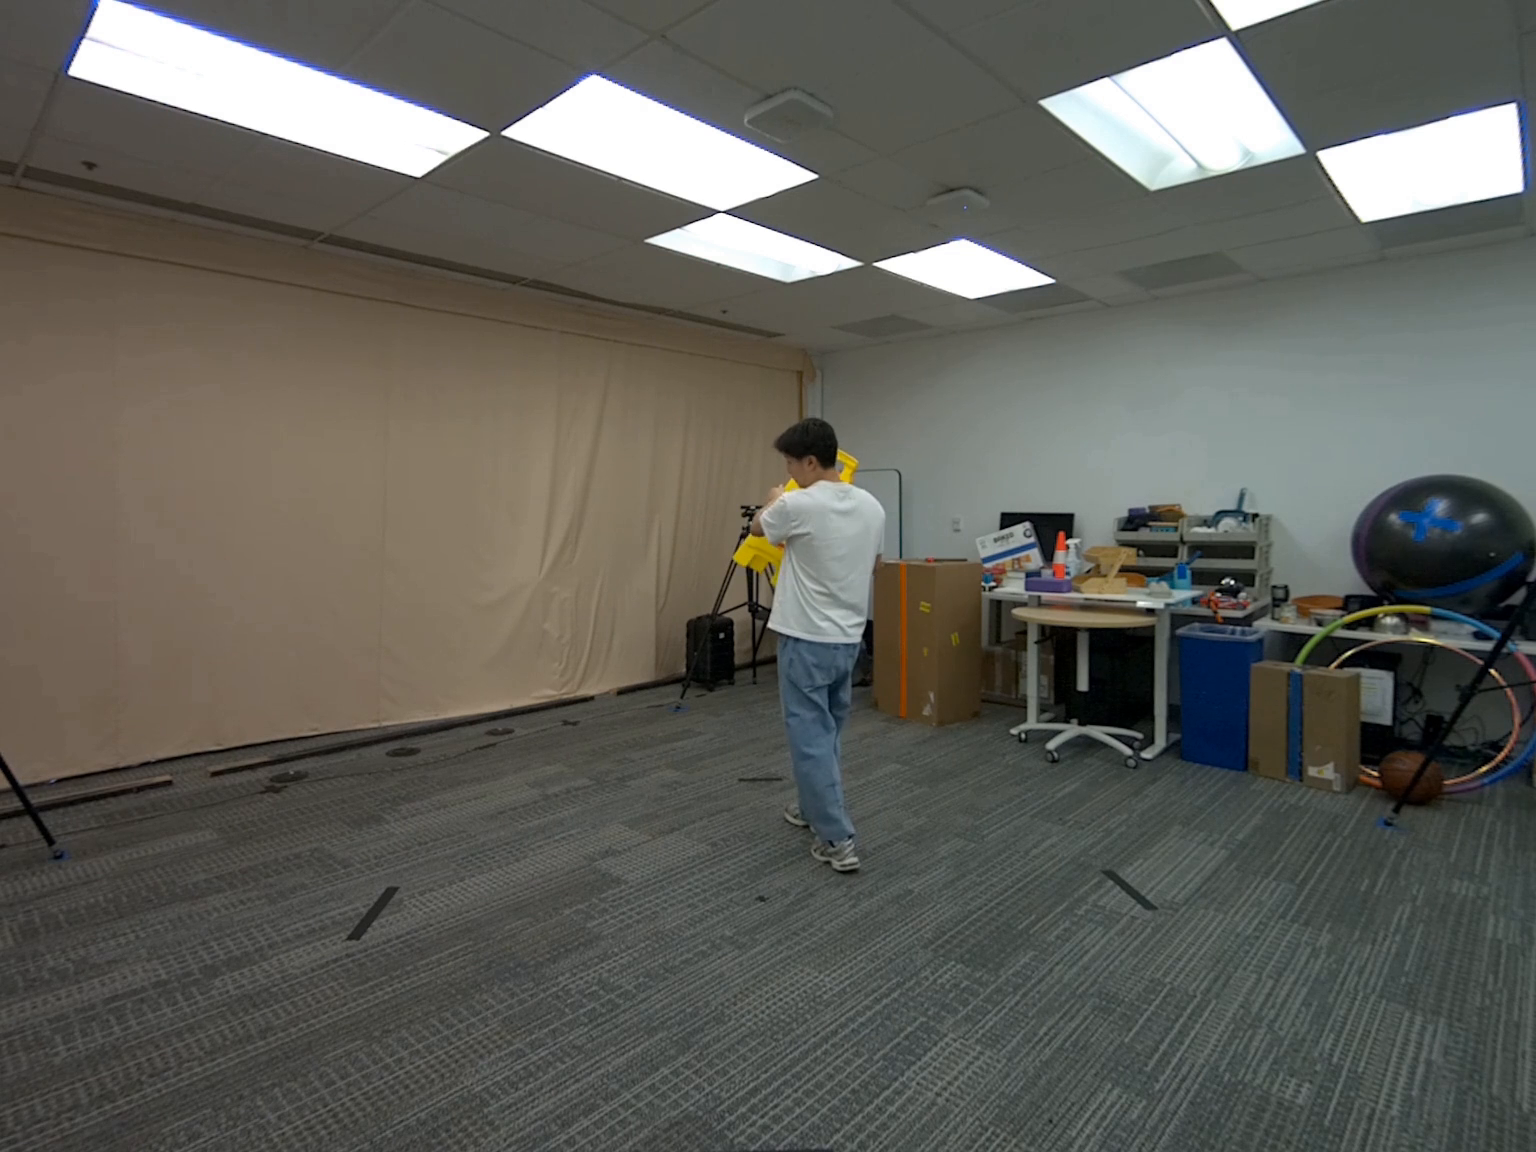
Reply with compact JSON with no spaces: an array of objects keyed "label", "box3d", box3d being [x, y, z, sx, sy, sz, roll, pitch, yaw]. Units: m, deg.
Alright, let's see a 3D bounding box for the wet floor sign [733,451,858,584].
[{"label":"wet floor sign","box3d":[0.153,-0.275,3.721,0.289,0.646,0.283,31,3,18]}]
